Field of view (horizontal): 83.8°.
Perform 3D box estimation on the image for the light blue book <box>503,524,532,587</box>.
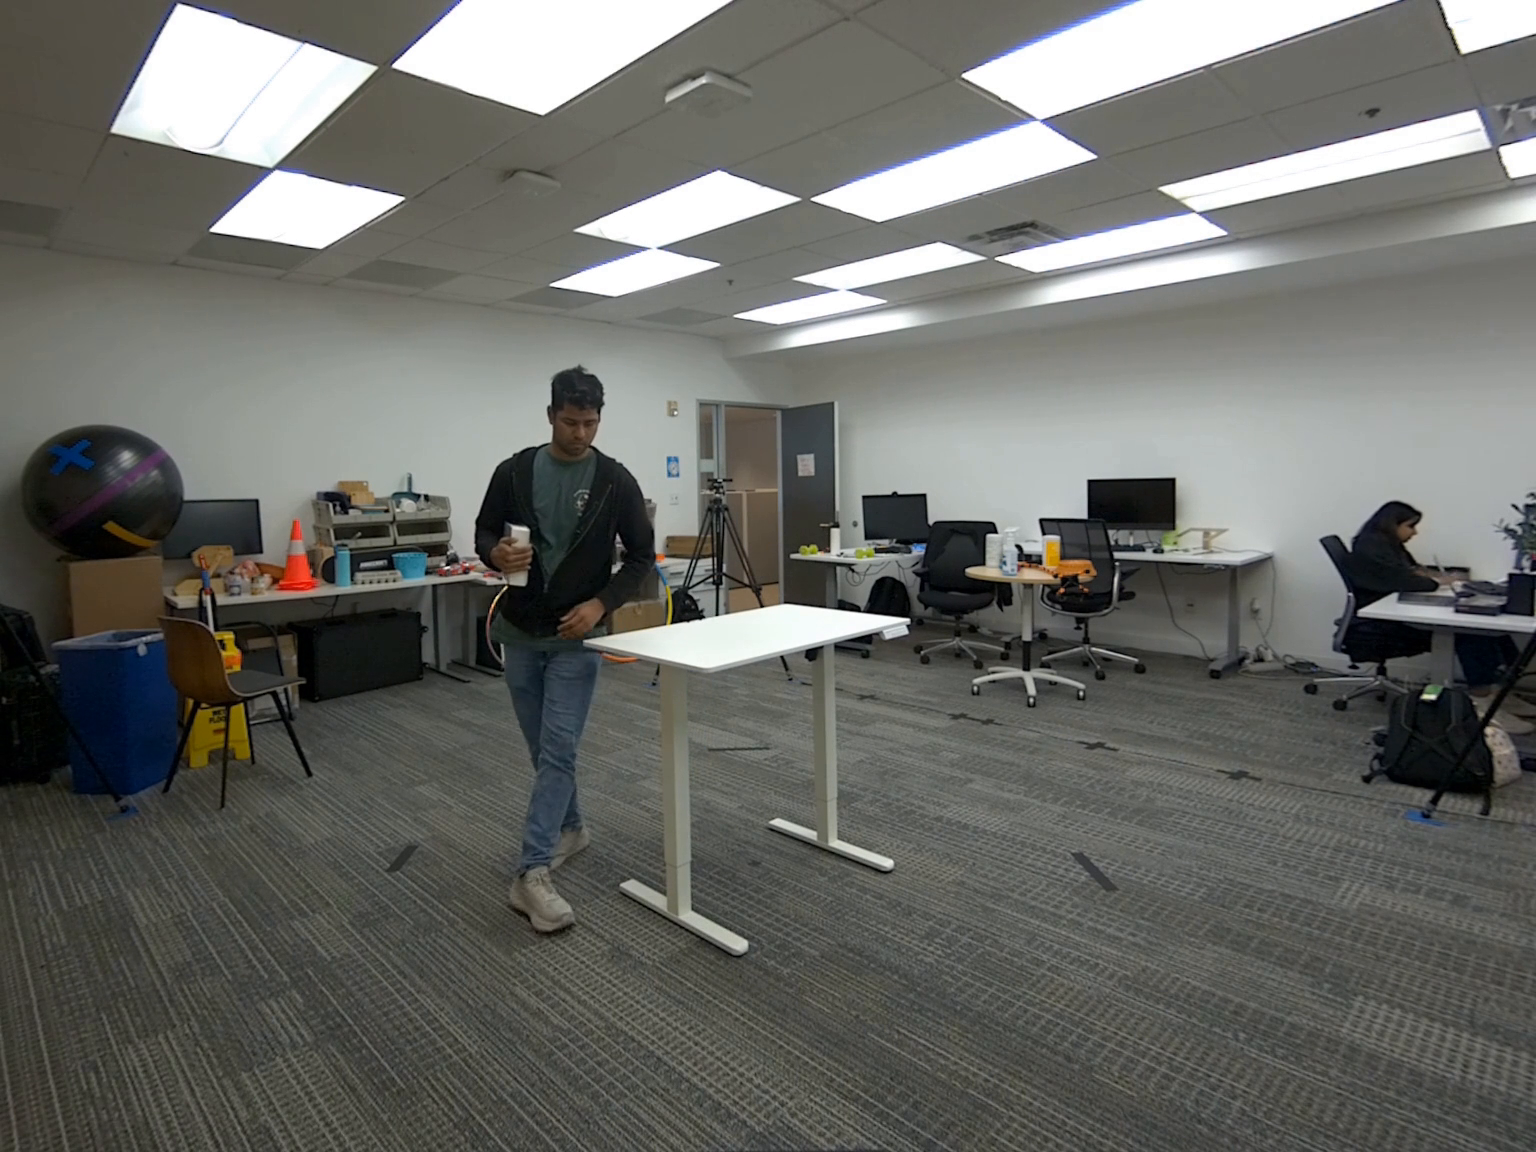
[{"bbox_3d":[-0.846,-0.085,2.876,0.058,0.191,0.266,6,6,-18],"label":"light blue book"}]
